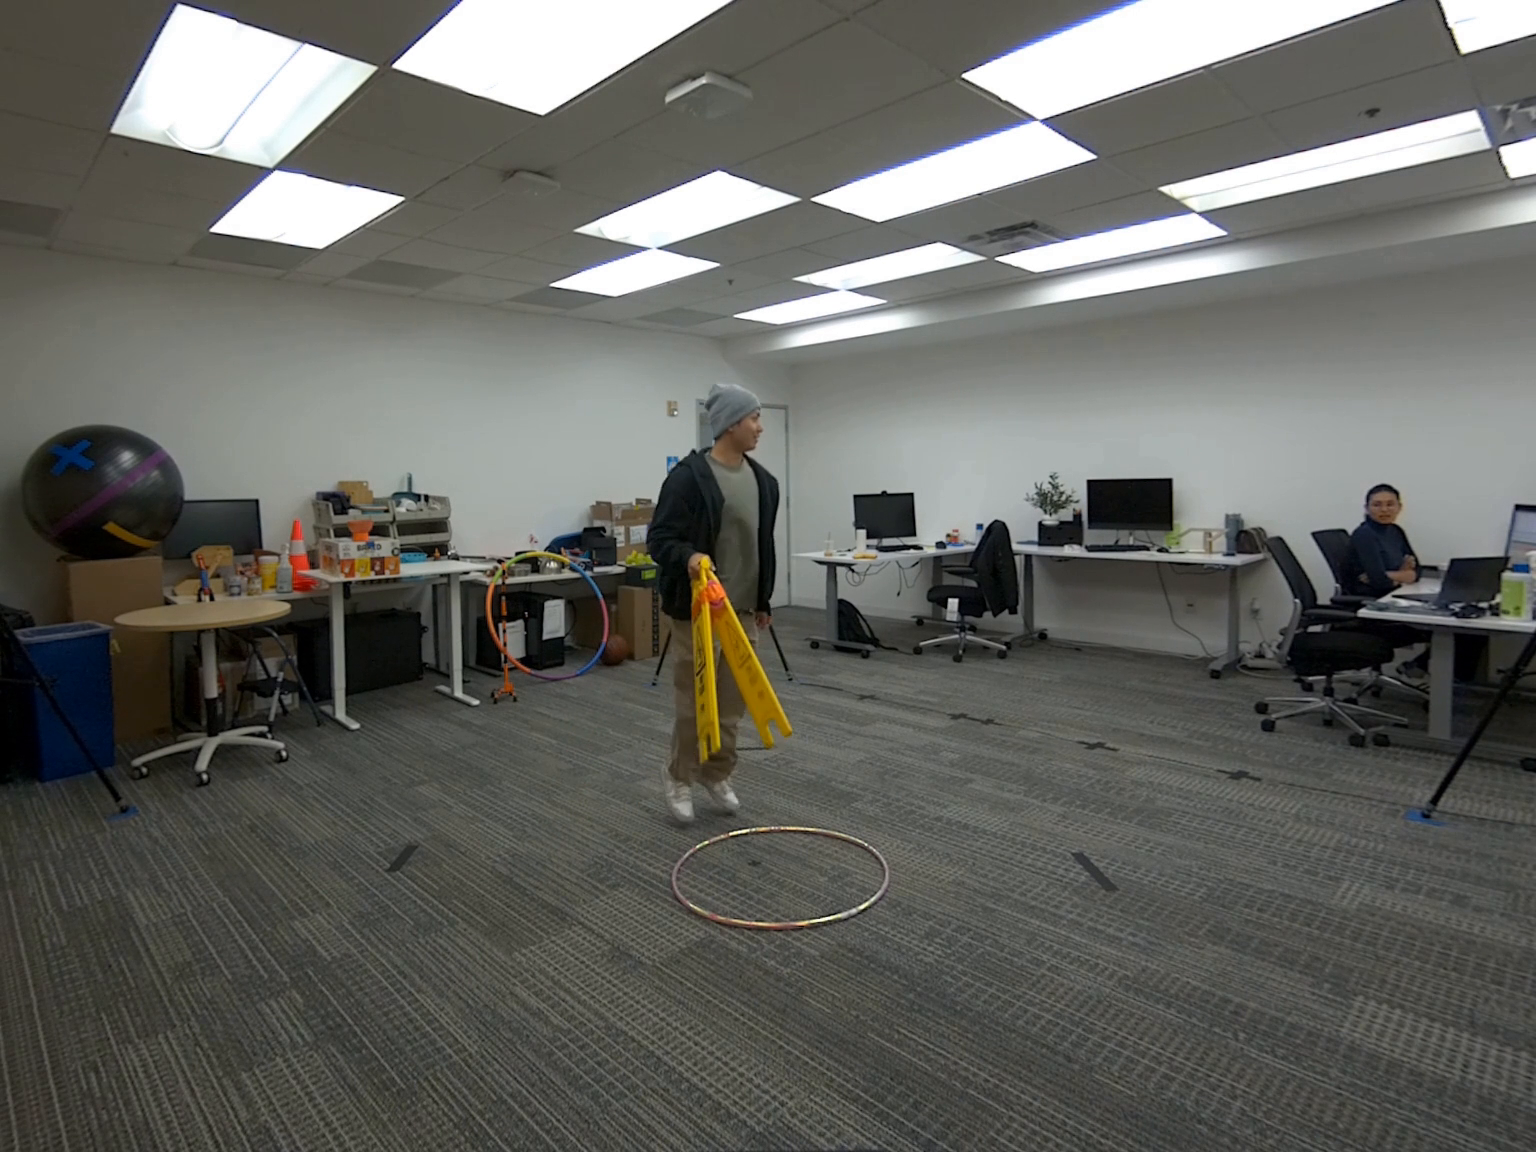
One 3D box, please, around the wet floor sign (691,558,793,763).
[{"bbox_3d":[-0.160,0.289,2.889,0.286,0.660,0.280,-10,-20,-17],"label":"wet floor sign"}]
